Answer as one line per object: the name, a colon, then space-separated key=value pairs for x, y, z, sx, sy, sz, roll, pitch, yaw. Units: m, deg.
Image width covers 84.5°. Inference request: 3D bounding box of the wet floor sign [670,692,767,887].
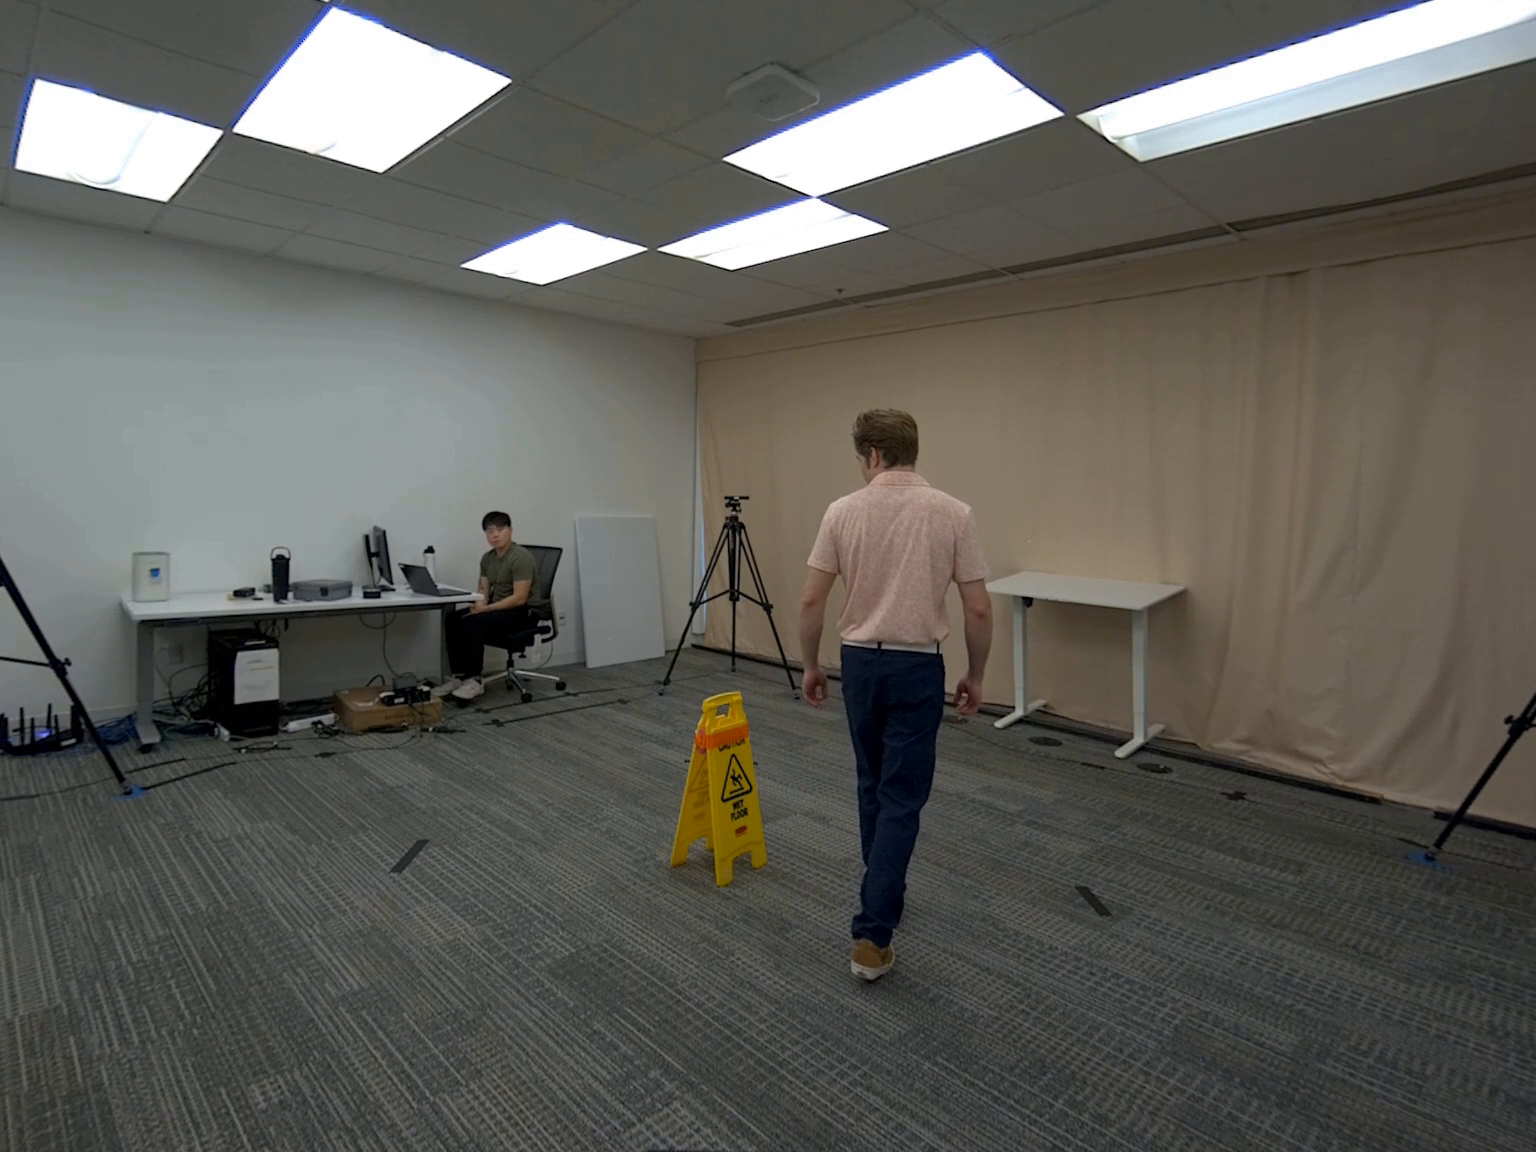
wet floor sign: x=-0.182 y=0.772 z=3.166 sx=0.297 sy=0.644 sz=0.276 roll=5 pitch=5 yaw=38
